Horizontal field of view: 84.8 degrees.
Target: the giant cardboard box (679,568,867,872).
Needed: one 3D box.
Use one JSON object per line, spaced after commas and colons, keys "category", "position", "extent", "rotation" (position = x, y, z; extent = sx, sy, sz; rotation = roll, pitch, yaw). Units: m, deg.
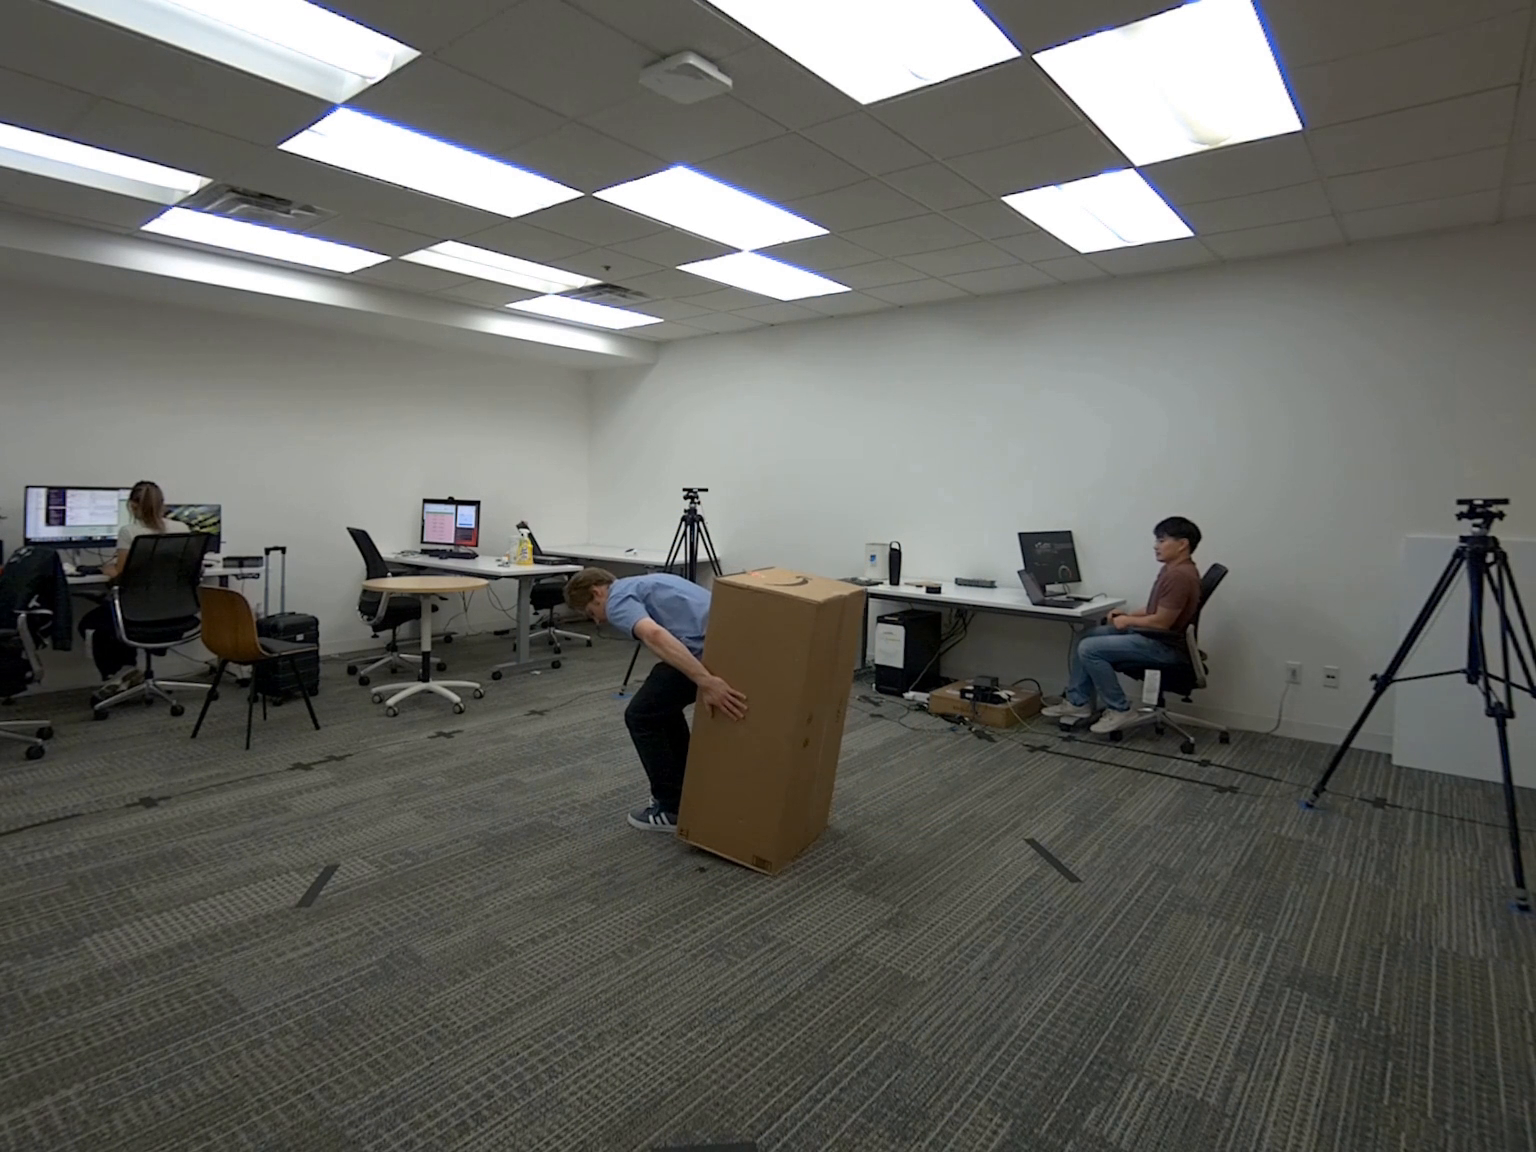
{"category": "giant cardboard box", "position": [0.026, 0.512, 3.339], "extent": [0.459, 1.022, 0.571], "rotation": [11, 7, 23]}
